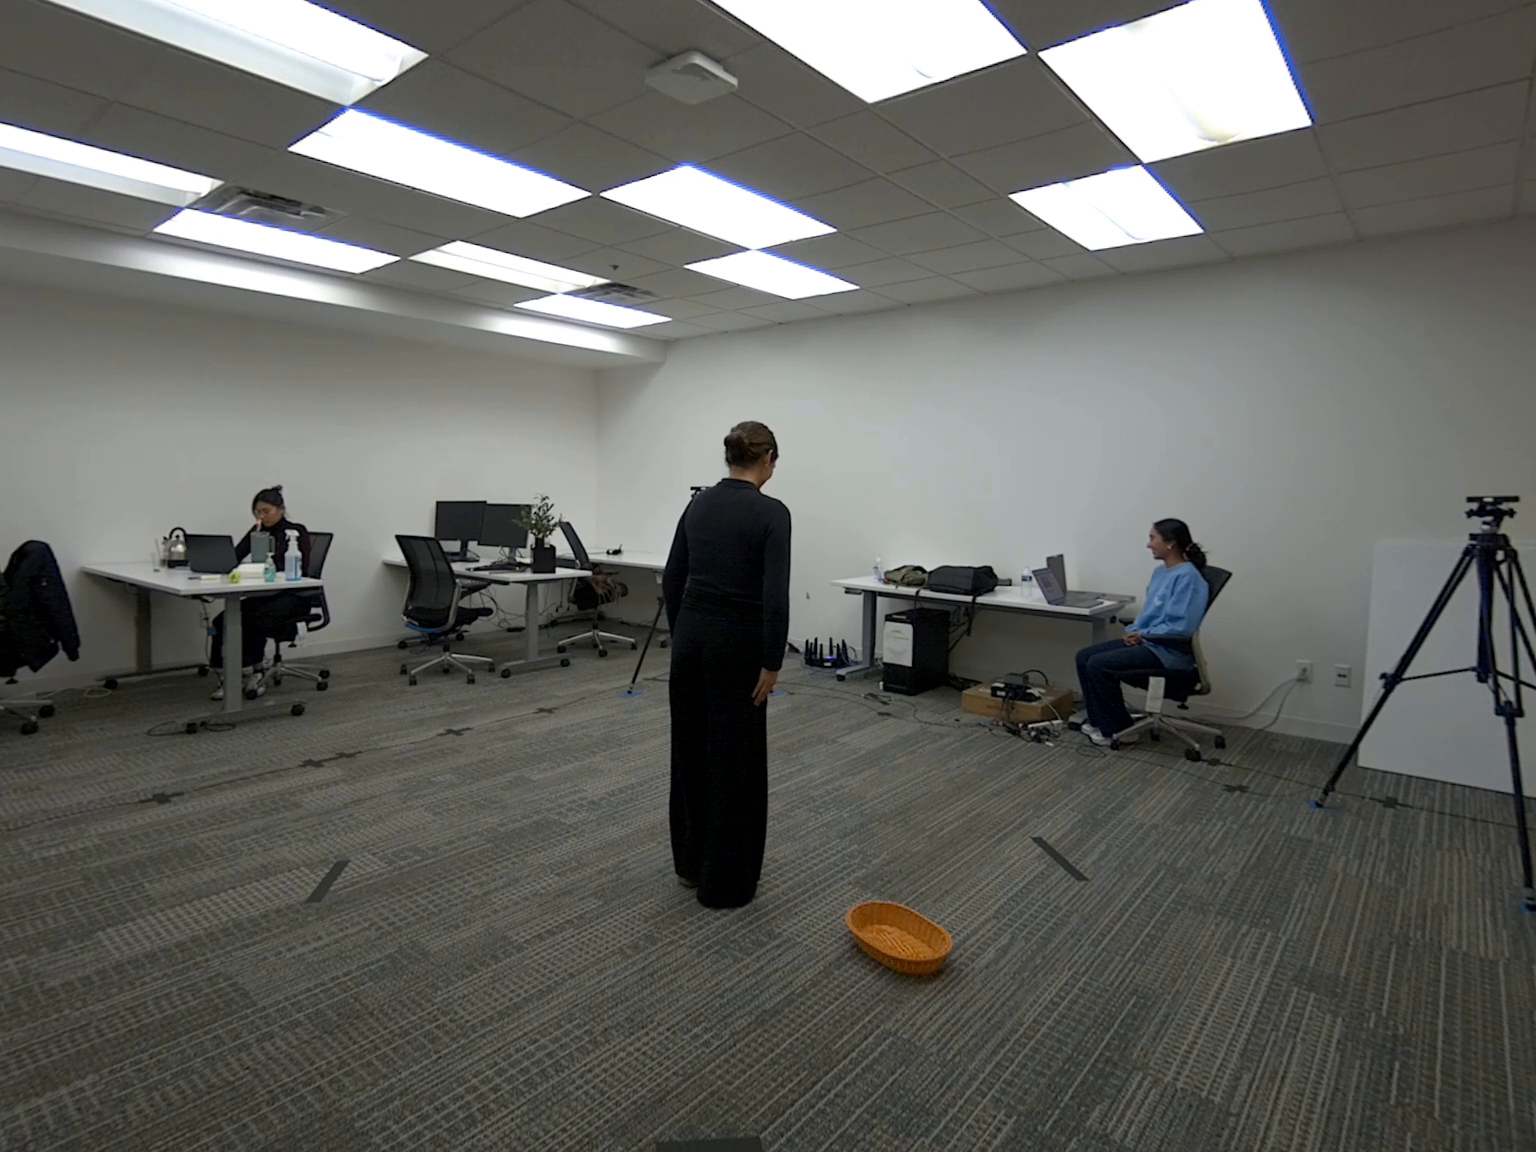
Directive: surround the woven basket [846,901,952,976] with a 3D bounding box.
[{"bbox_3d":[0.384,1.088,2.574,0.246,0.073,0.361,-3,7,-28],"label":"woven basket"}]
